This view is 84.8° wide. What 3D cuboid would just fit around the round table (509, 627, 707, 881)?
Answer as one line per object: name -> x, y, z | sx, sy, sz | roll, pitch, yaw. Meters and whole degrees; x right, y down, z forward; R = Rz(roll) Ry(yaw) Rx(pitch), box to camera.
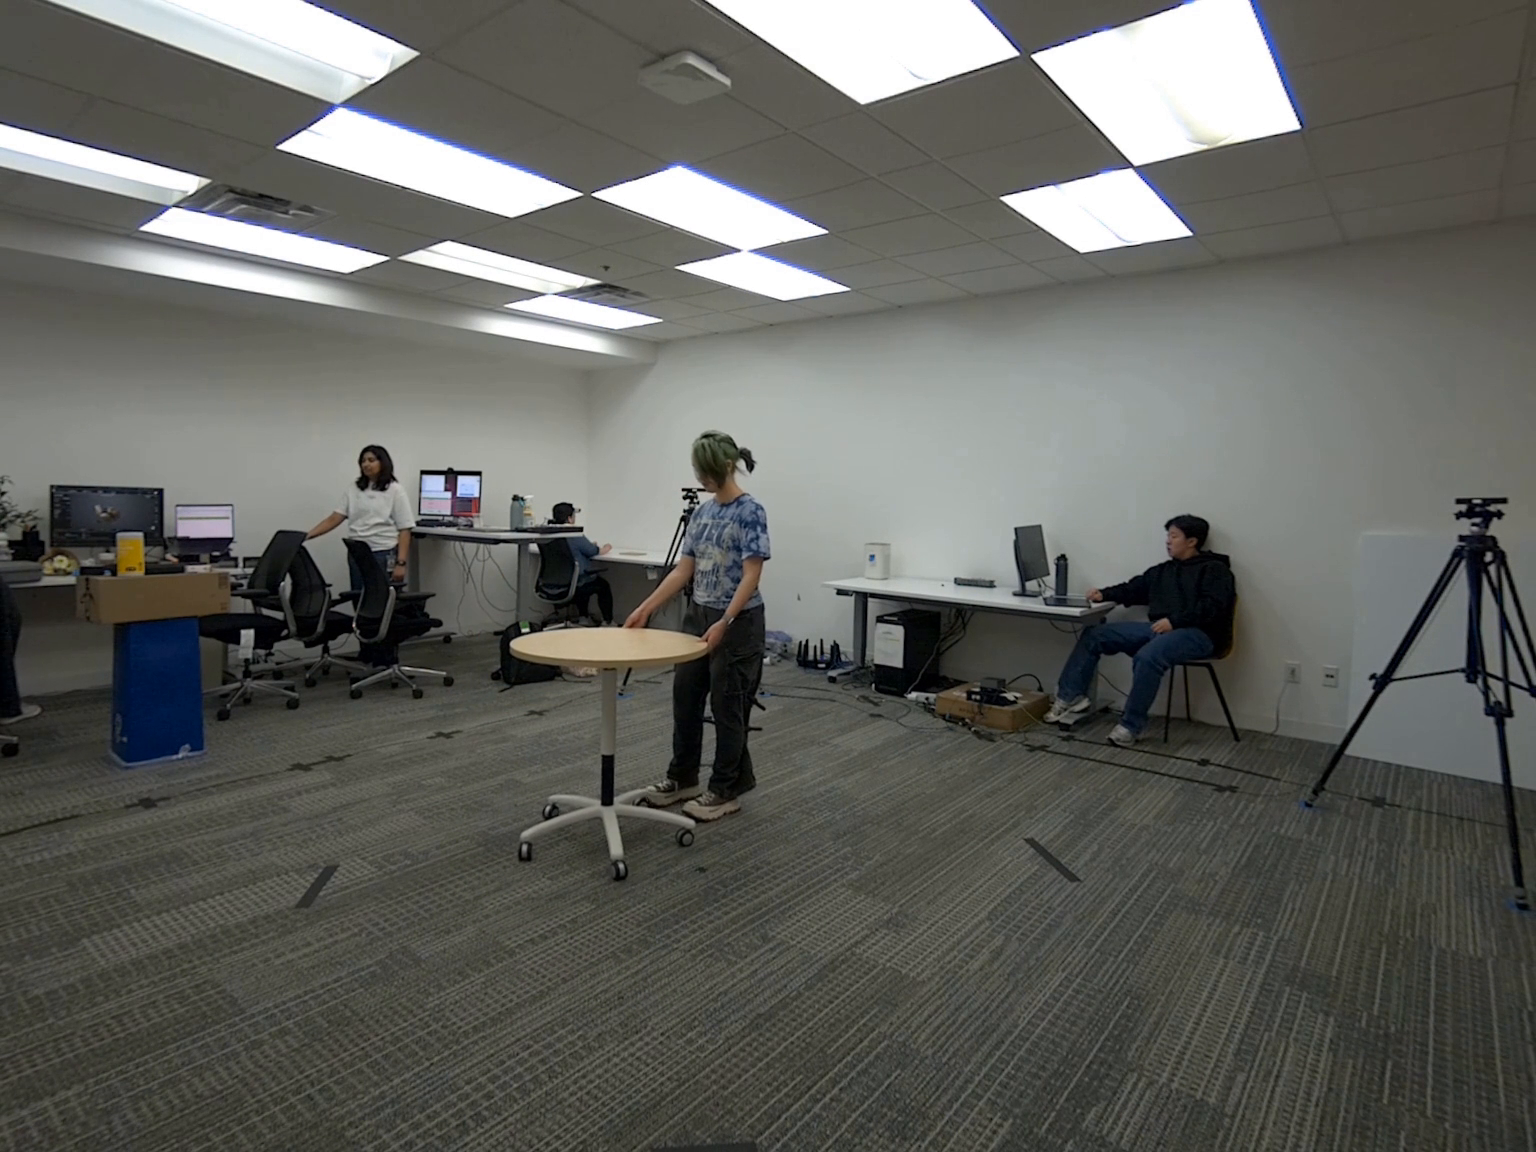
round table -> -0.639, 0.652, 3.338 | 0.763, 0.792, 0.767 | 1, 3, -2
